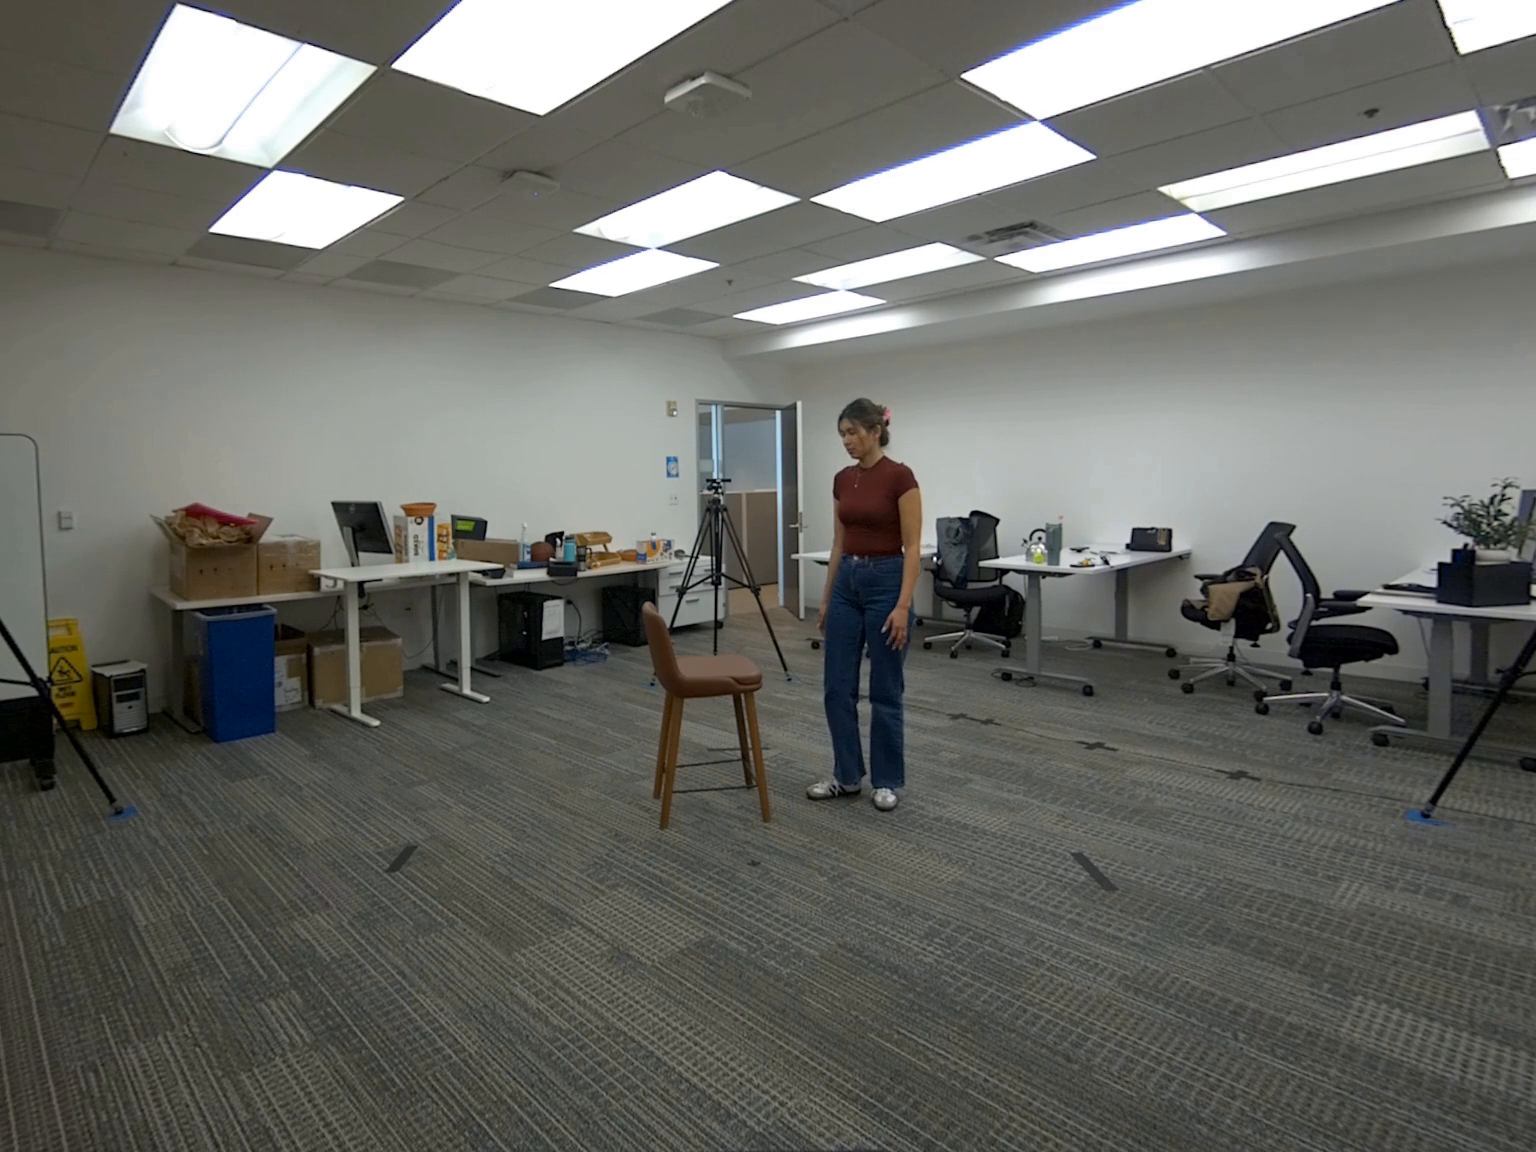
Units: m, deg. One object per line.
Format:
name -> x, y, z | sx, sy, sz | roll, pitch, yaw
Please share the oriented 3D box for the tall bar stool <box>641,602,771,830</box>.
tall bar stool -> -0.261, 0.559, 3.617 | 0.463, 0.887, 0.463 | -3, 4, -11
